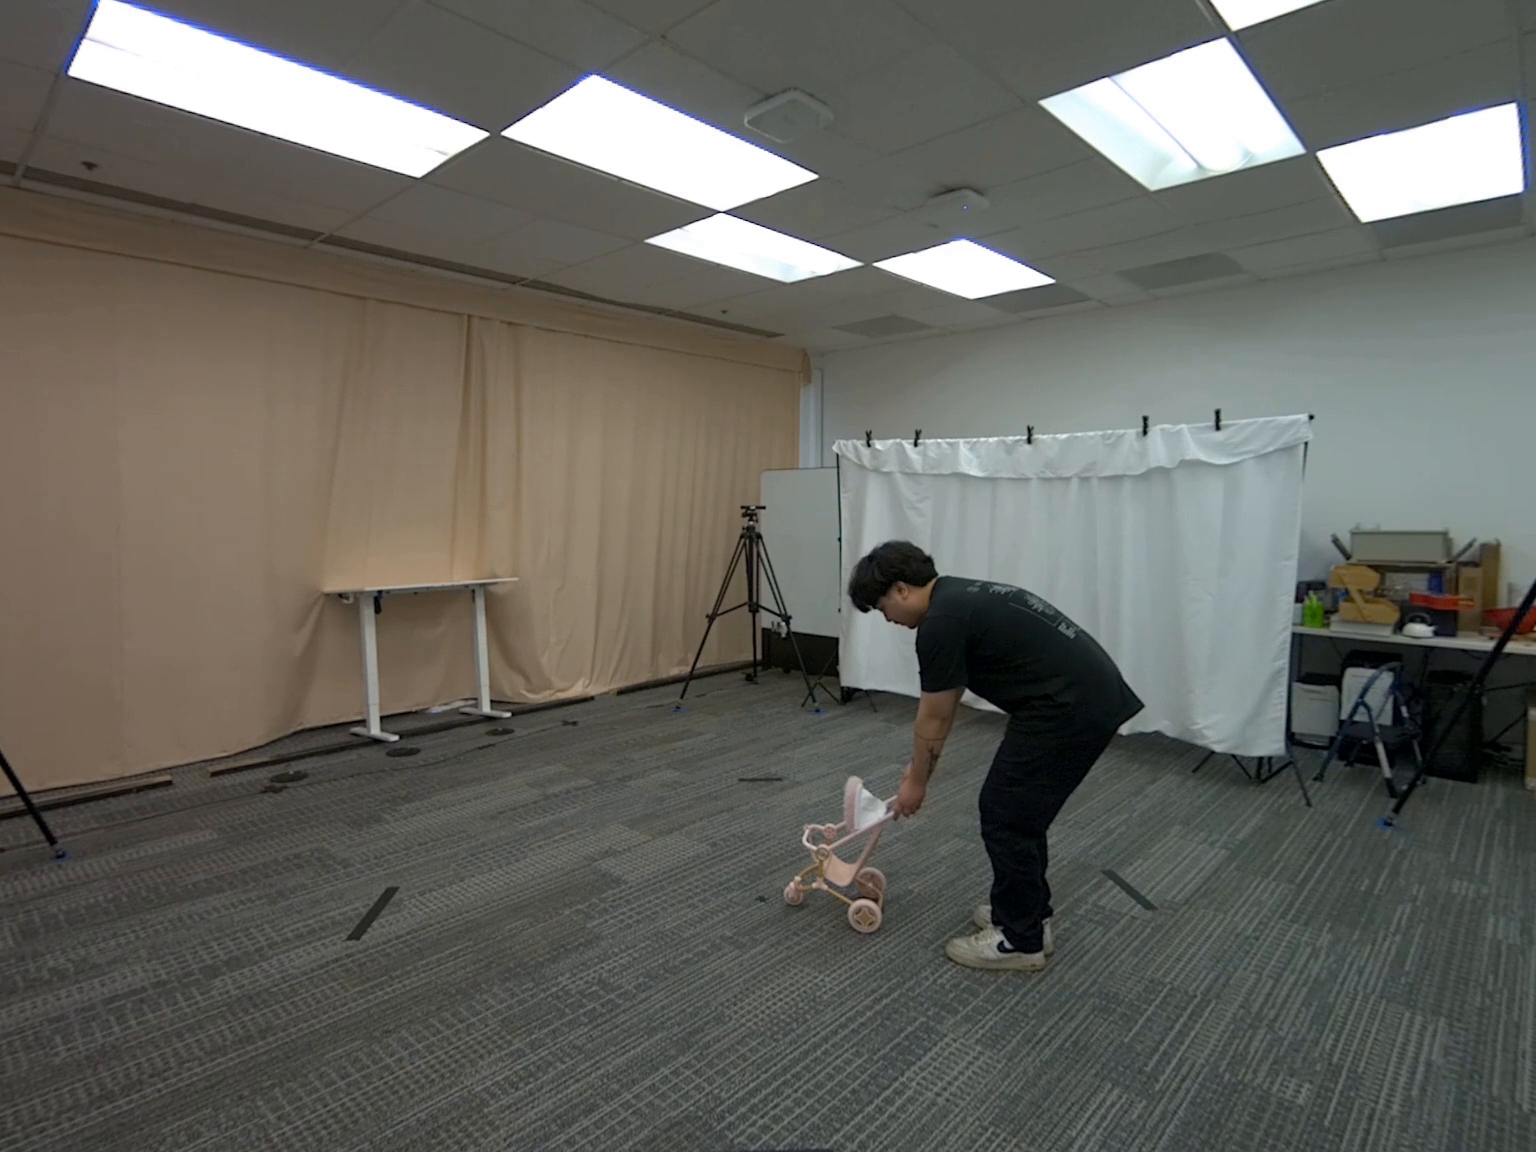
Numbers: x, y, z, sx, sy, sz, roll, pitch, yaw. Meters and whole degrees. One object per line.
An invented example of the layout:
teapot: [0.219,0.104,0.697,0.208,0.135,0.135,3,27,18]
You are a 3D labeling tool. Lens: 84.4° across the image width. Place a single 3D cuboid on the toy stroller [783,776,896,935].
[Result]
toy stroller: [0.283,0.927,2.877,0.349,0.533,0.276,17,8,17]
